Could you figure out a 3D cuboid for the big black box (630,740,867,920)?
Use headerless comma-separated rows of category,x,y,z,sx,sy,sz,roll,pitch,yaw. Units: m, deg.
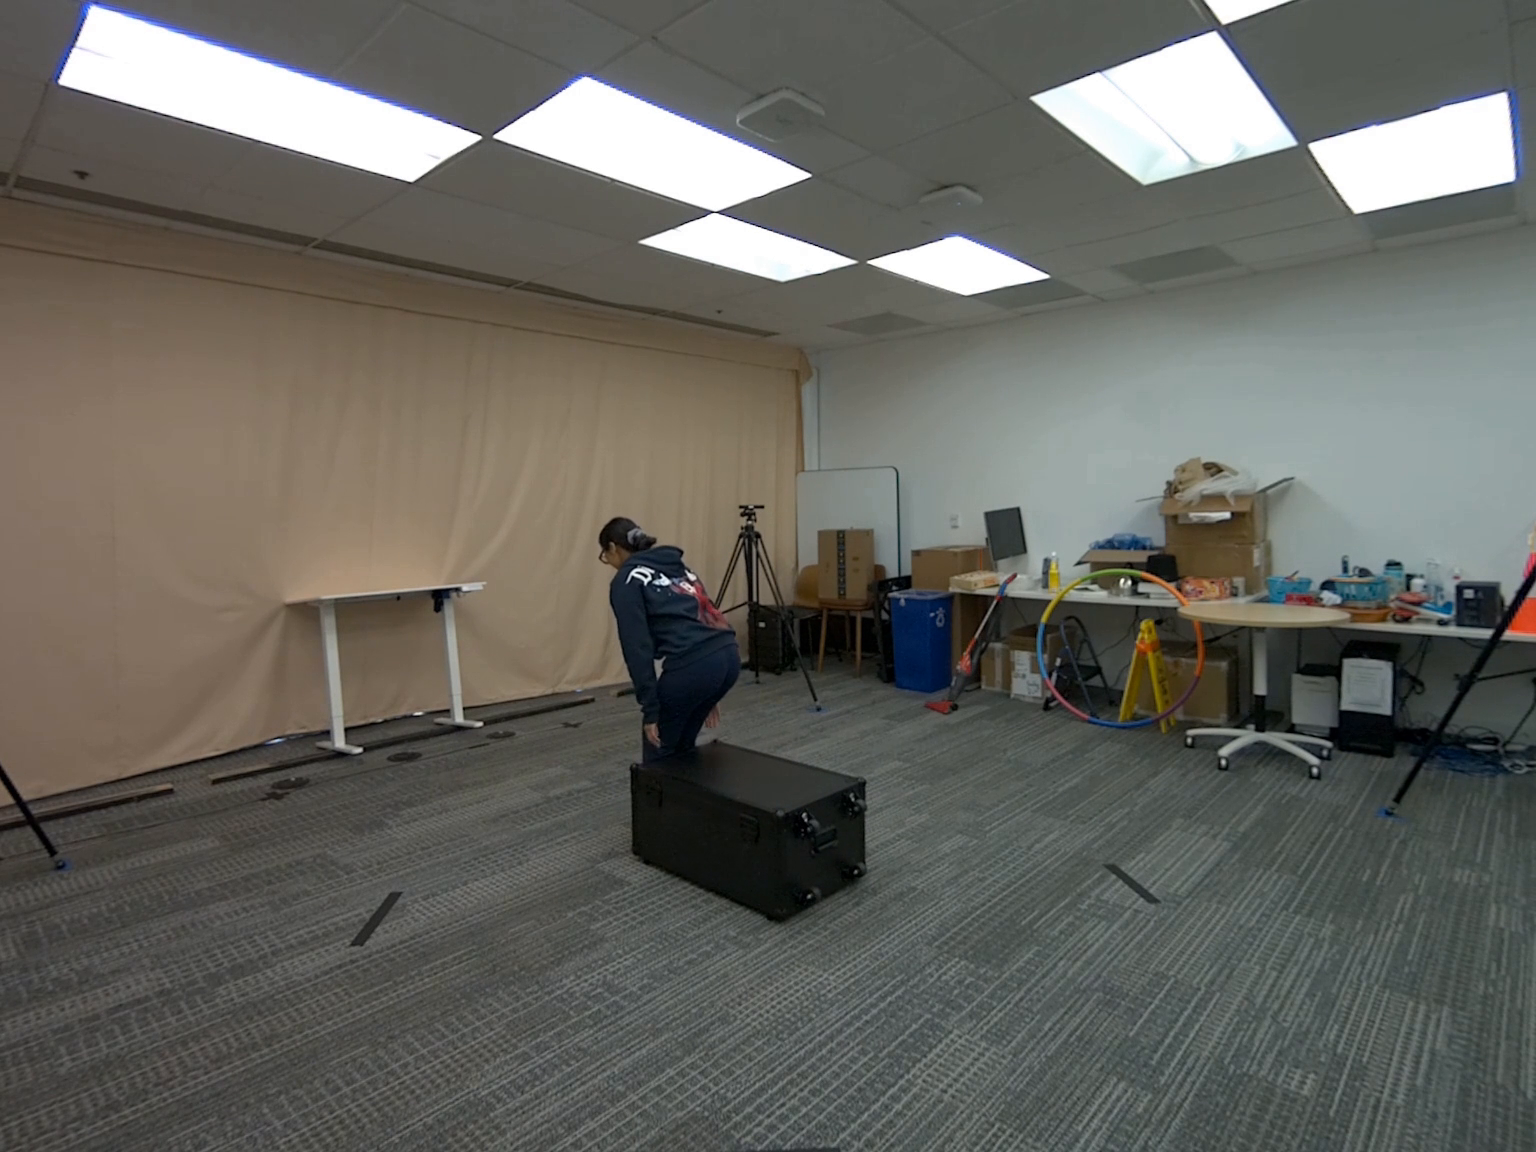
big black box,-0.064,0.935,3.184,0.890,0.395,0.506,2,5,43
